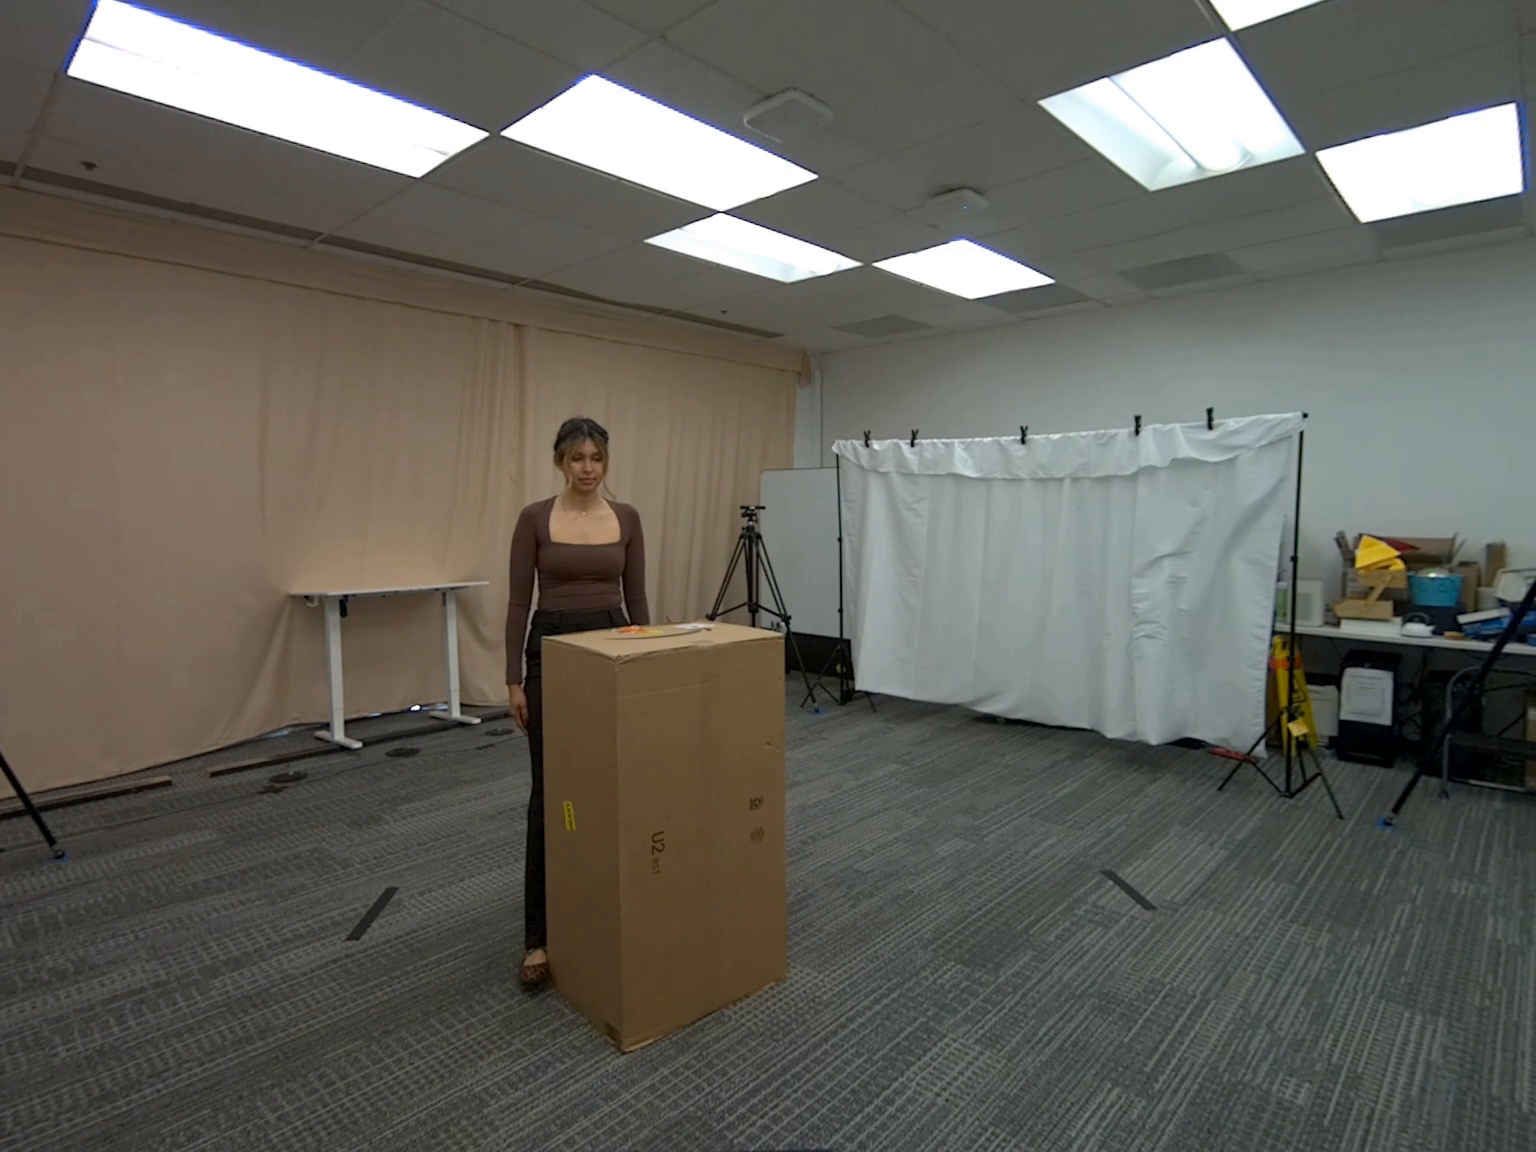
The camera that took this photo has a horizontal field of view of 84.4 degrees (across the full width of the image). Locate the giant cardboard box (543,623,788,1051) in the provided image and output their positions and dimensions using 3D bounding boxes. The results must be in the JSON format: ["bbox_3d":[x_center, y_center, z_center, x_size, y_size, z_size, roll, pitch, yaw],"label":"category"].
[{"bbox_3d":[-0.292,0.681,2.454,0.566,1.025,0.461,-3,3,-38],"label":"giant cardboard box"}]
